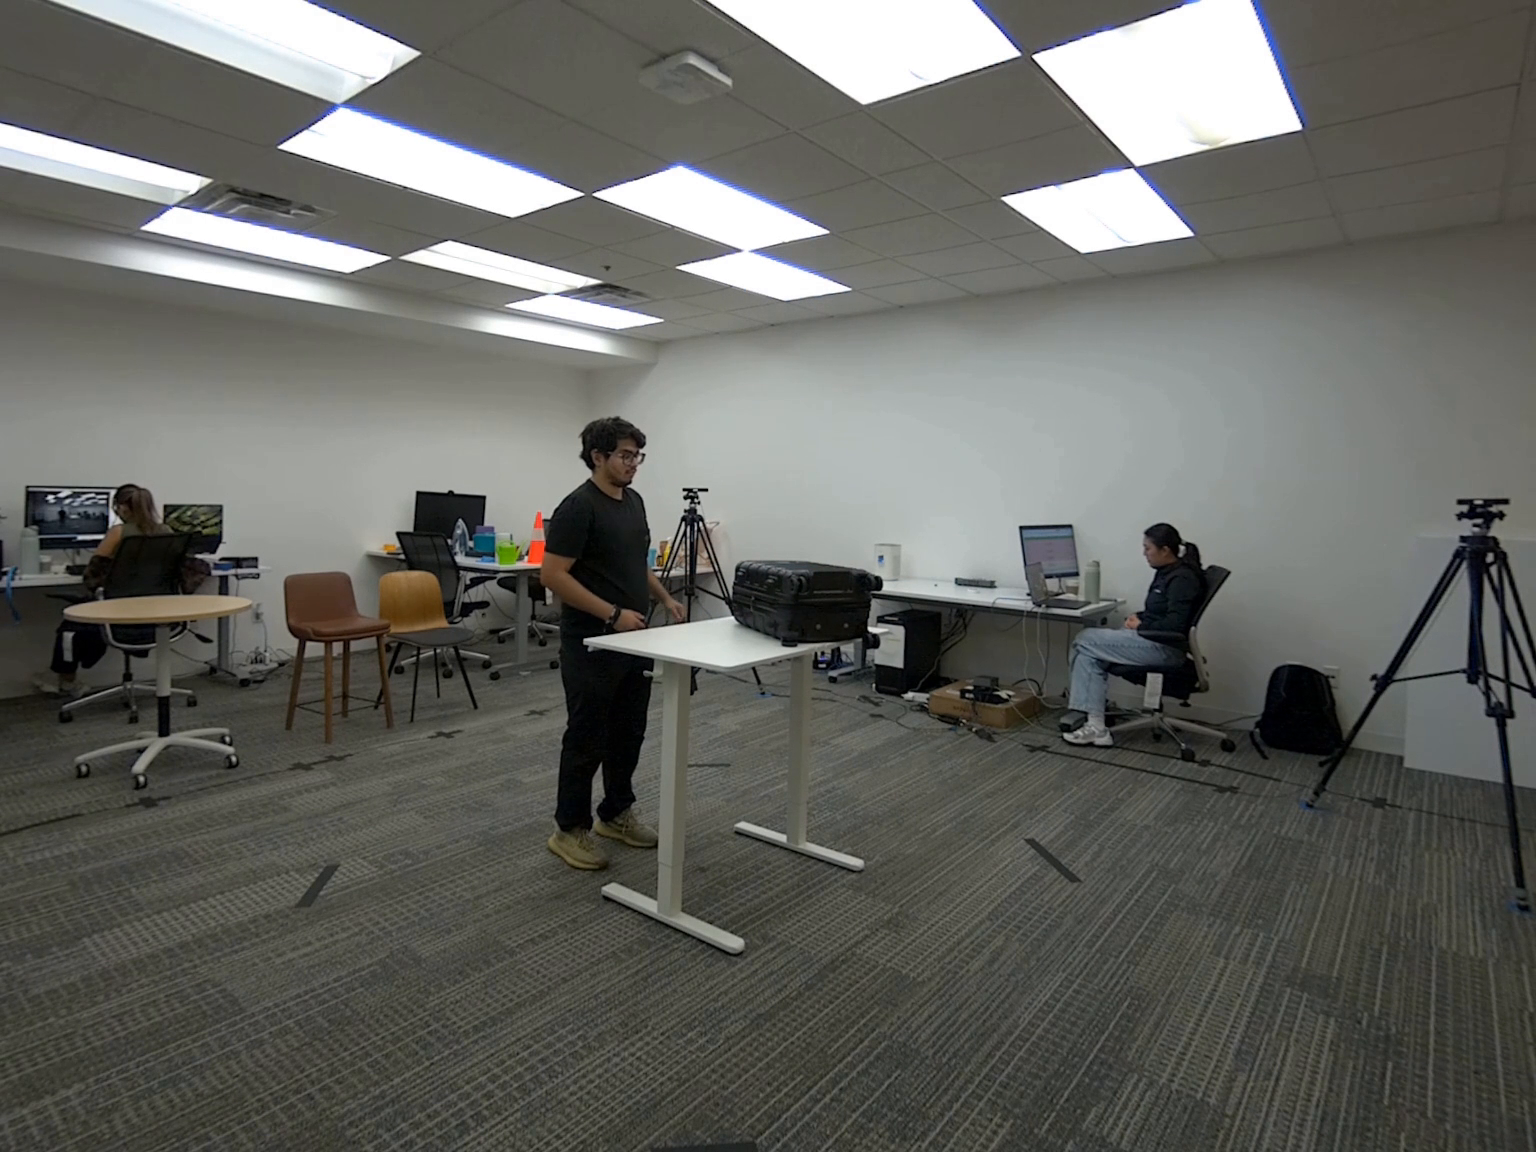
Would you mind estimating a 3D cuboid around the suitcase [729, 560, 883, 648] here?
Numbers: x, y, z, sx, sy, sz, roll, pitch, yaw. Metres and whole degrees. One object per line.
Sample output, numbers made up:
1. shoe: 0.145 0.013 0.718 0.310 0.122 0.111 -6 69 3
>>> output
1. suitcase: 0.103 0.085 3.057 0.366 0.247 0.564 0 5 -25
